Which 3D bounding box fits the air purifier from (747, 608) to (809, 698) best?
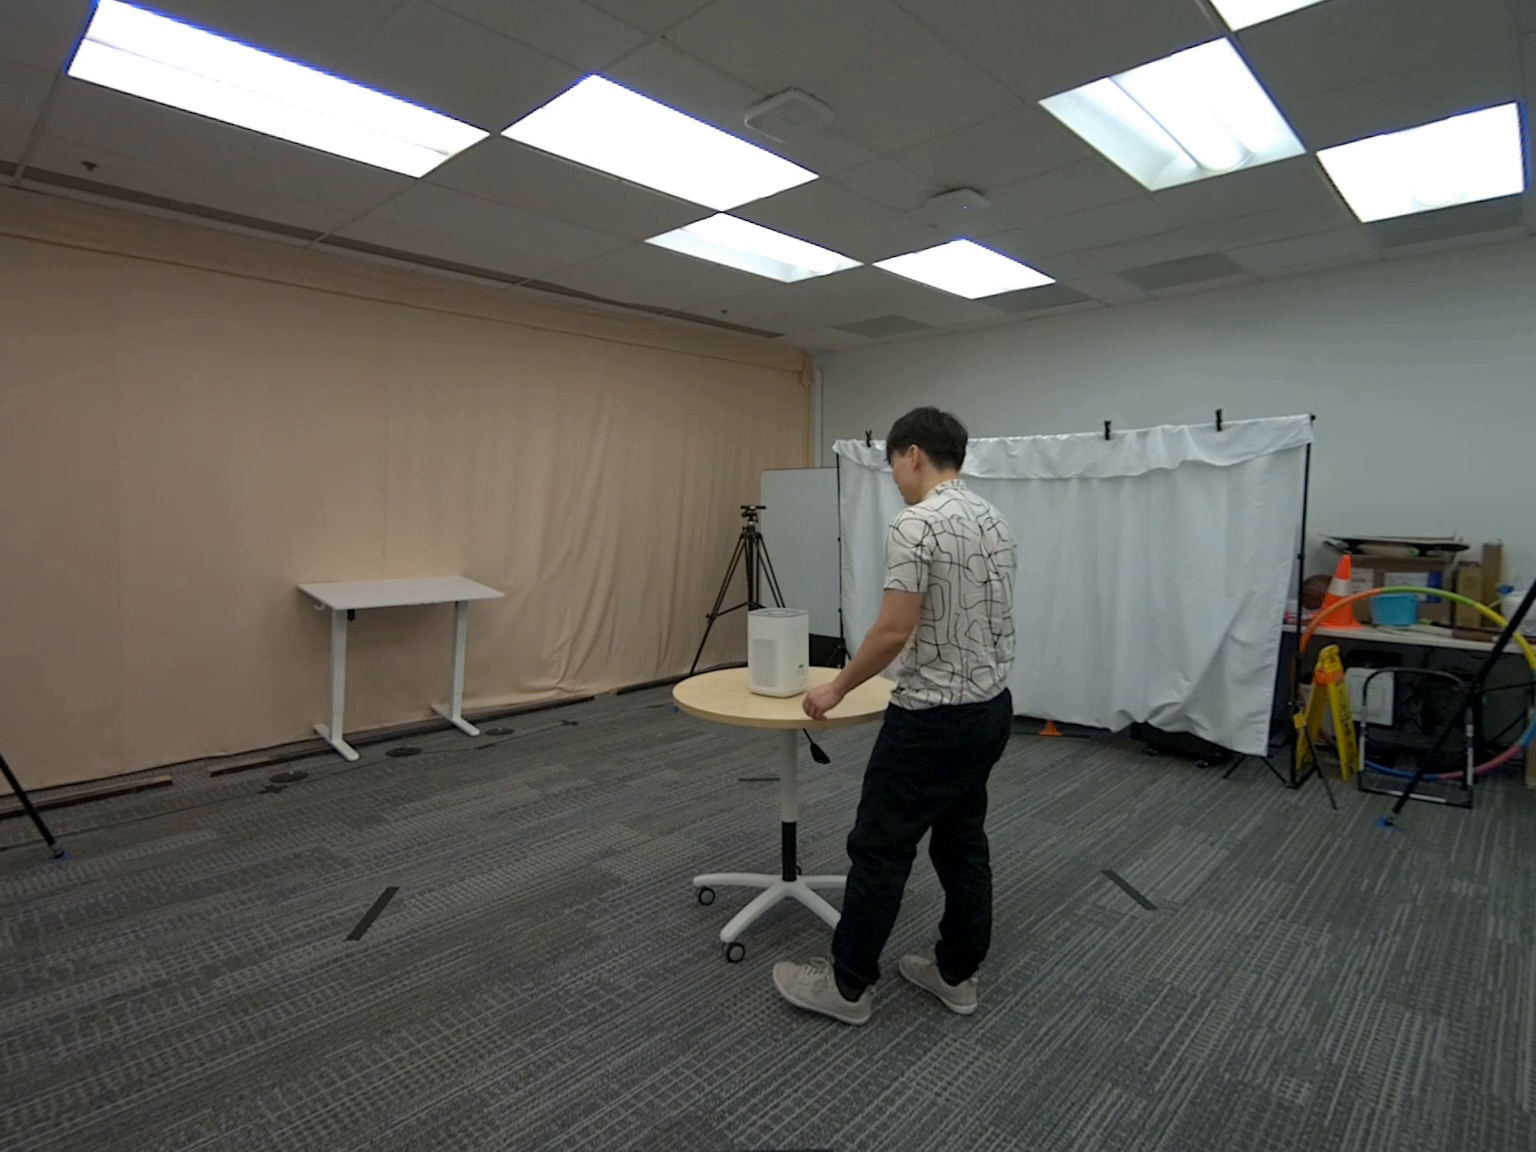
[{"bbox_3d":[0.039,0.249,2.739,0.177,0.265,0.166,2,4,34],"label":"air purifier"}]
